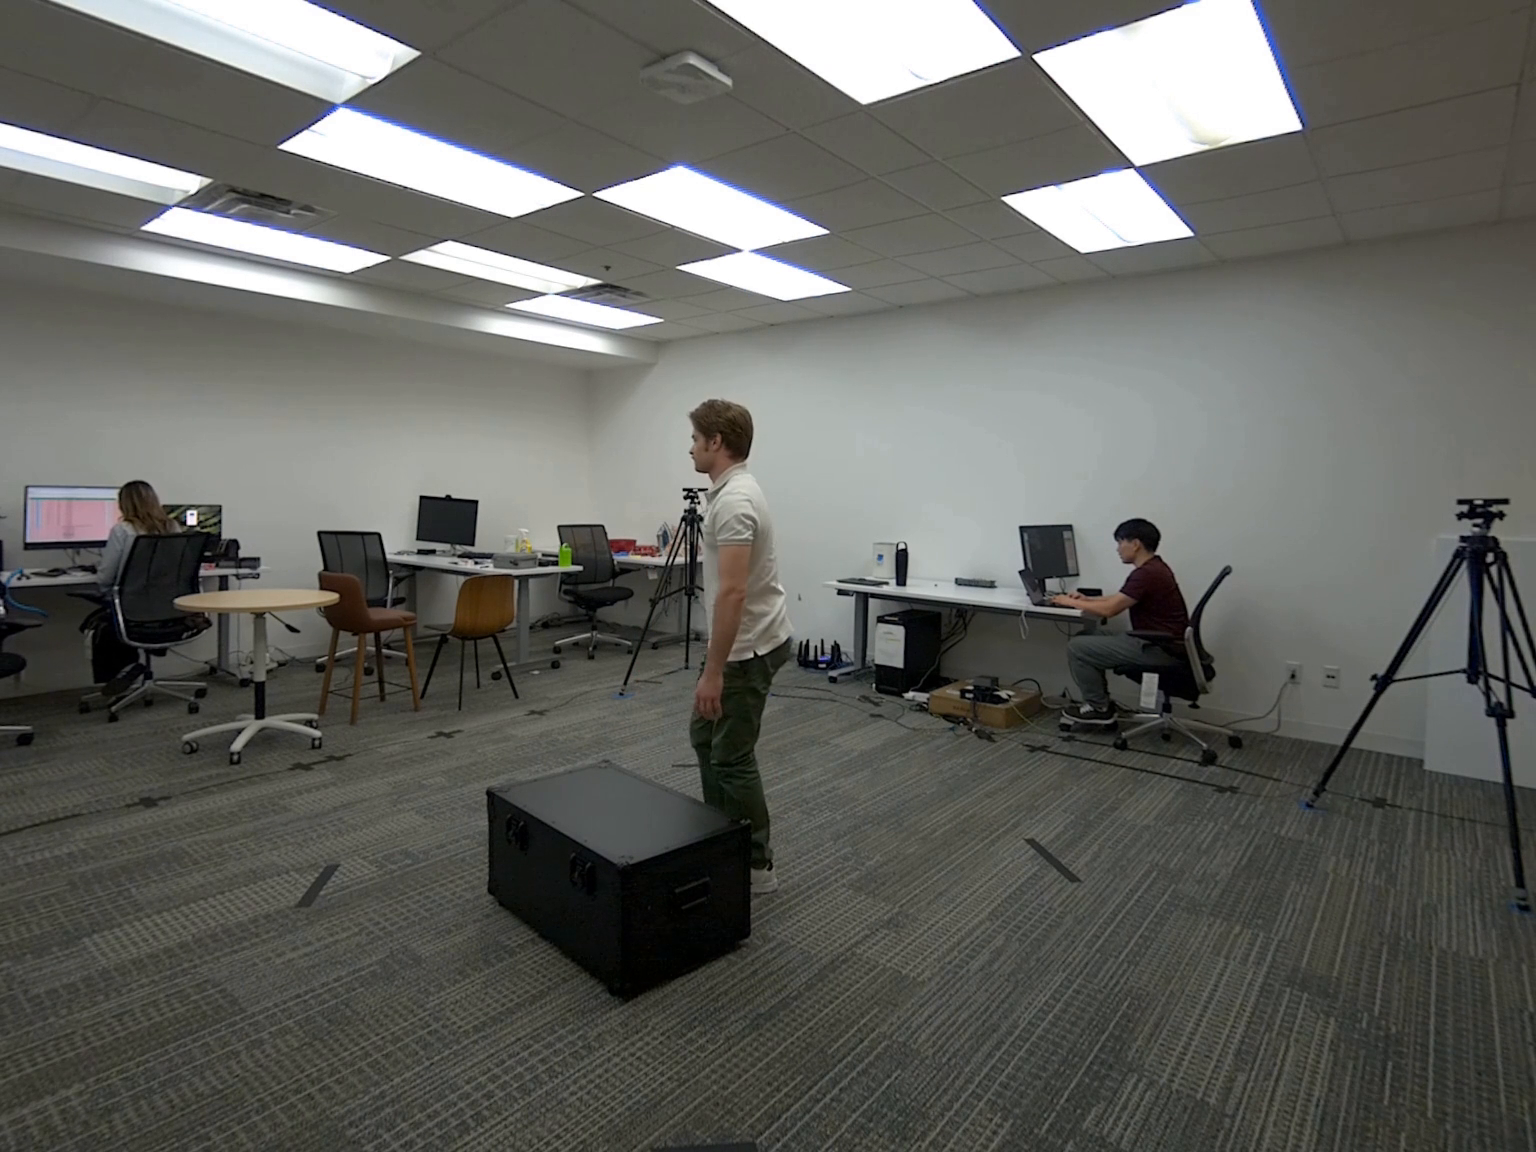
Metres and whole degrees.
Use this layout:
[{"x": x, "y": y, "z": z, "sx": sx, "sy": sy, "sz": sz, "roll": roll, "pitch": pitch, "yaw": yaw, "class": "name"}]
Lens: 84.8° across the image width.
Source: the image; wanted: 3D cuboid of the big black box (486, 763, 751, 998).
[{"x": -0.524, "y": 0.904, "z": 2.743, "sx": 0.508, "sy": 0.383, "sz": 0.898, "roll": -5, "pitch": 8, "yaw": -42, "class": "big black box"}]
